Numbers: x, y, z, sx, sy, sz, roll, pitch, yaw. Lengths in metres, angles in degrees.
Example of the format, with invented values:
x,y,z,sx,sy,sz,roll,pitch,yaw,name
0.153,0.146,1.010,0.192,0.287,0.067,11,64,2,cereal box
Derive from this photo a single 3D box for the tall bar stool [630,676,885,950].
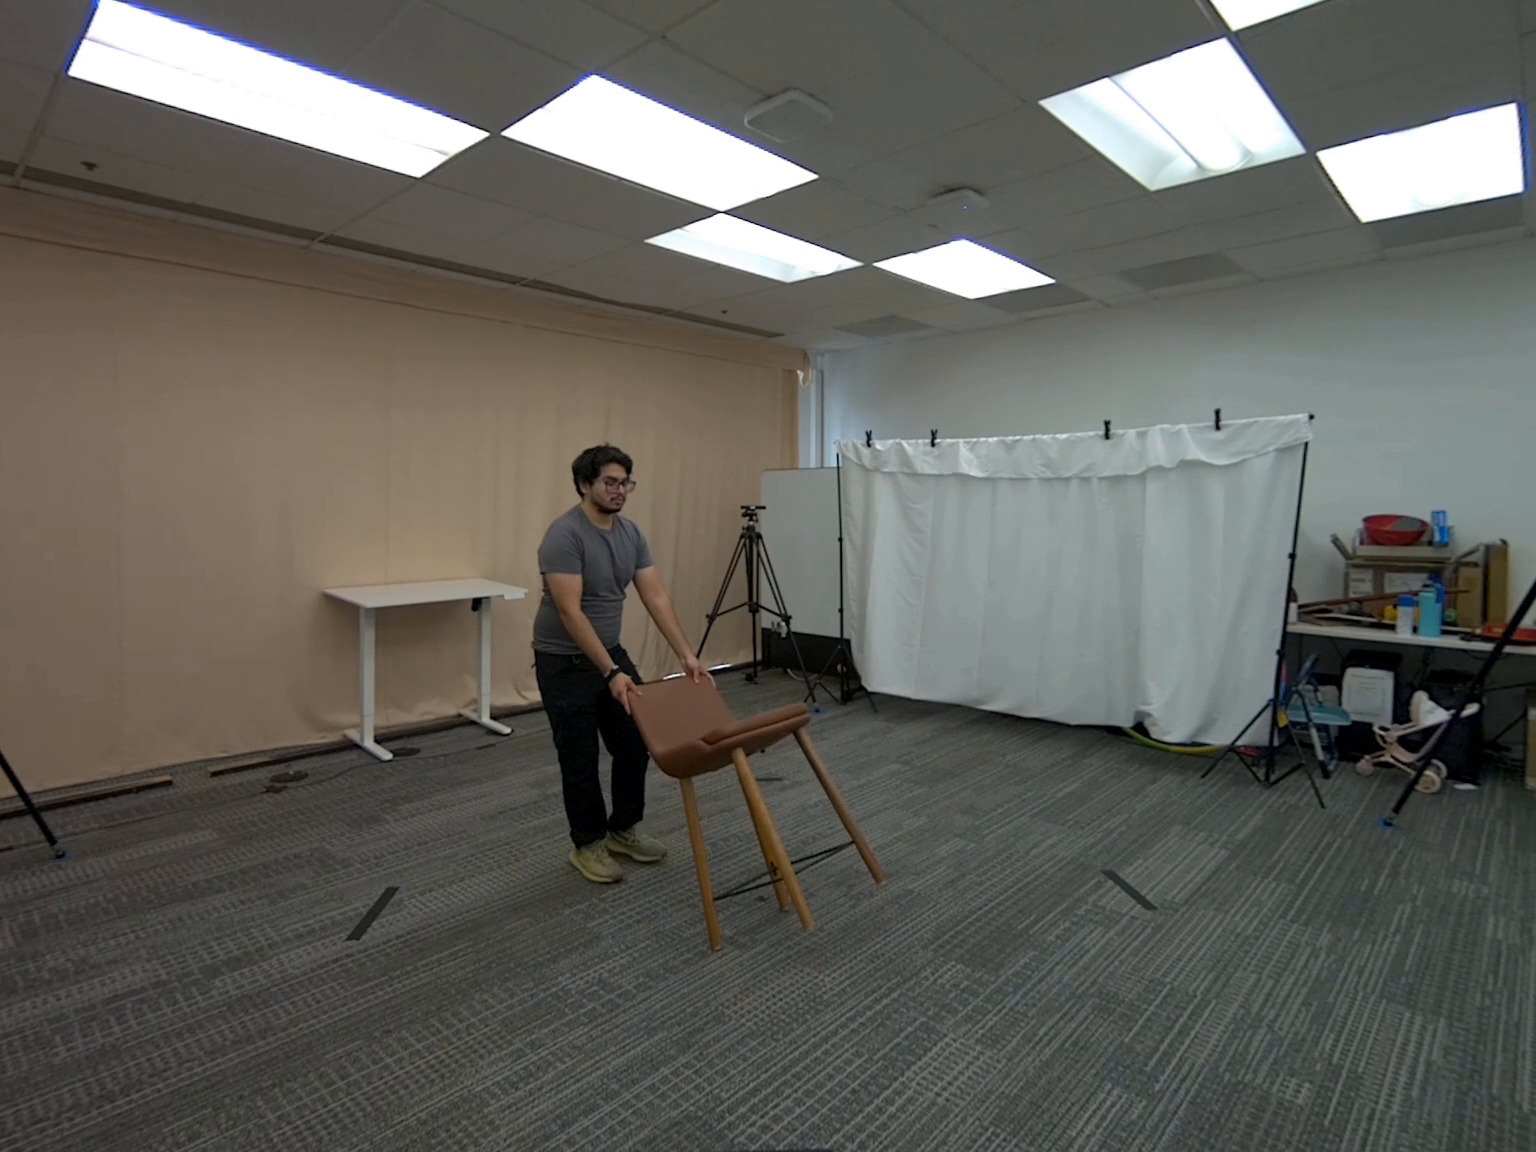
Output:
x,y,z,sx,sy,sz,roll,pitch,yaw,name
-0.070,0.676,2.767,0.443,0.905,0.474,-5,-25,-48,tall bar stool
